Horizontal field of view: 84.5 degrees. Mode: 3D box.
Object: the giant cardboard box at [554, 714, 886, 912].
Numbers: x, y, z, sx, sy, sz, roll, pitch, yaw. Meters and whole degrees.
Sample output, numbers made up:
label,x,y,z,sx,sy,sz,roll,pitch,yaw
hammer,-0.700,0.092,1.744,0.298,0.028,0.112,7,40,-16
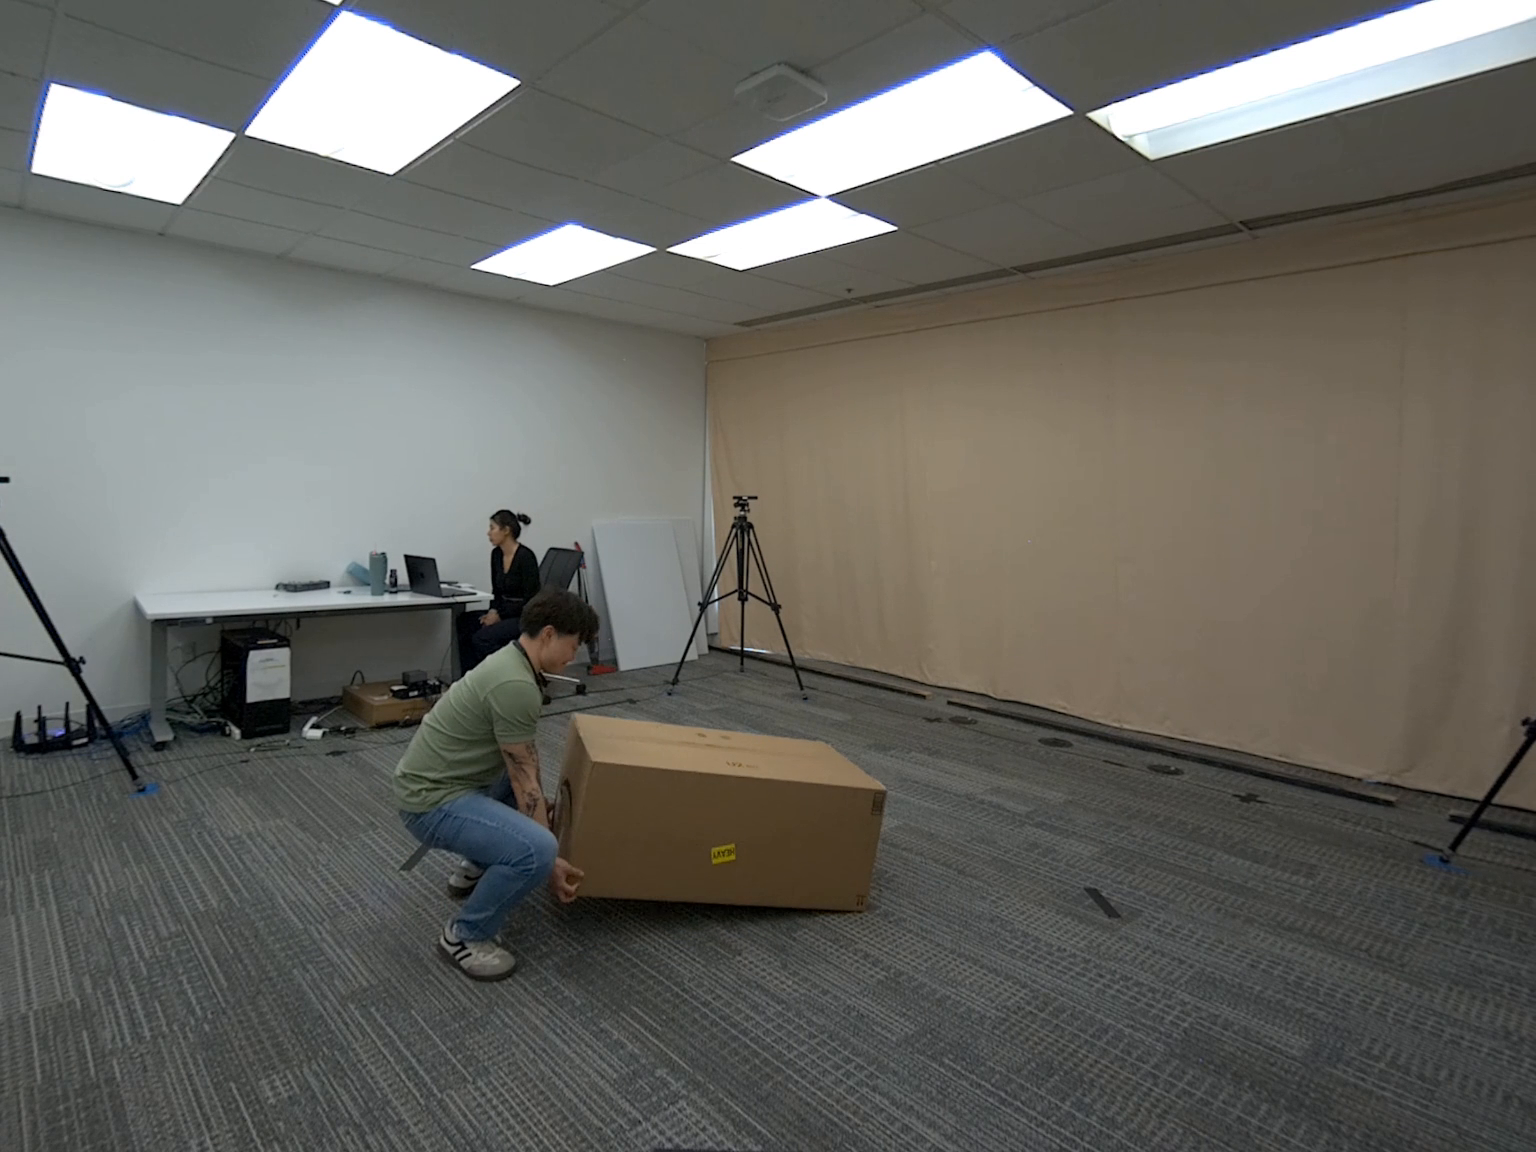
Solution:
label,x,y,z,sx,sy,sz,roll,pitch,yaw
giant cardboard box,-0.203,0.819,2.964,1.010,0.426,0.587,9,2,-18
